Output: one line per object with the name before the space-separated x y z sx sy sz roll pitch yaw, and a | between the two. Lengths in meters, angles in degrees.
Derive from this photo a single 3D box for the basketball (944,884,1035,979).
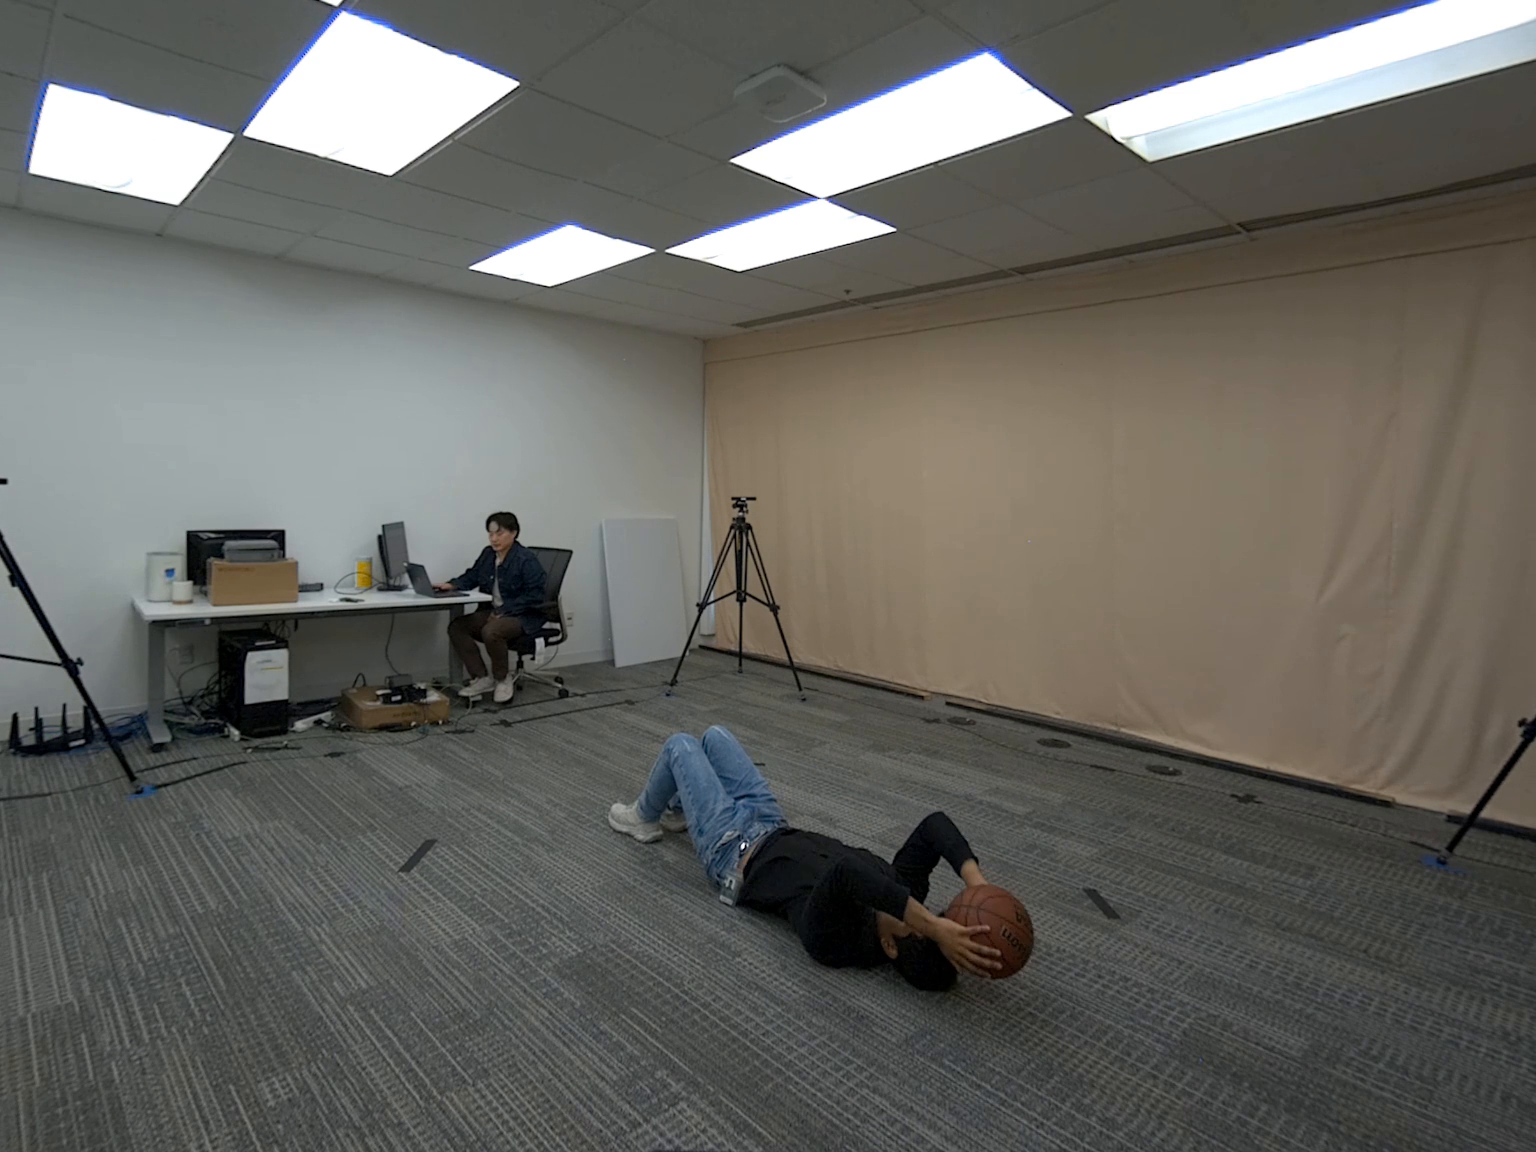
basketball | 0.604 0.980 2.334 0.236 0.235 0.237 1 4 -1
